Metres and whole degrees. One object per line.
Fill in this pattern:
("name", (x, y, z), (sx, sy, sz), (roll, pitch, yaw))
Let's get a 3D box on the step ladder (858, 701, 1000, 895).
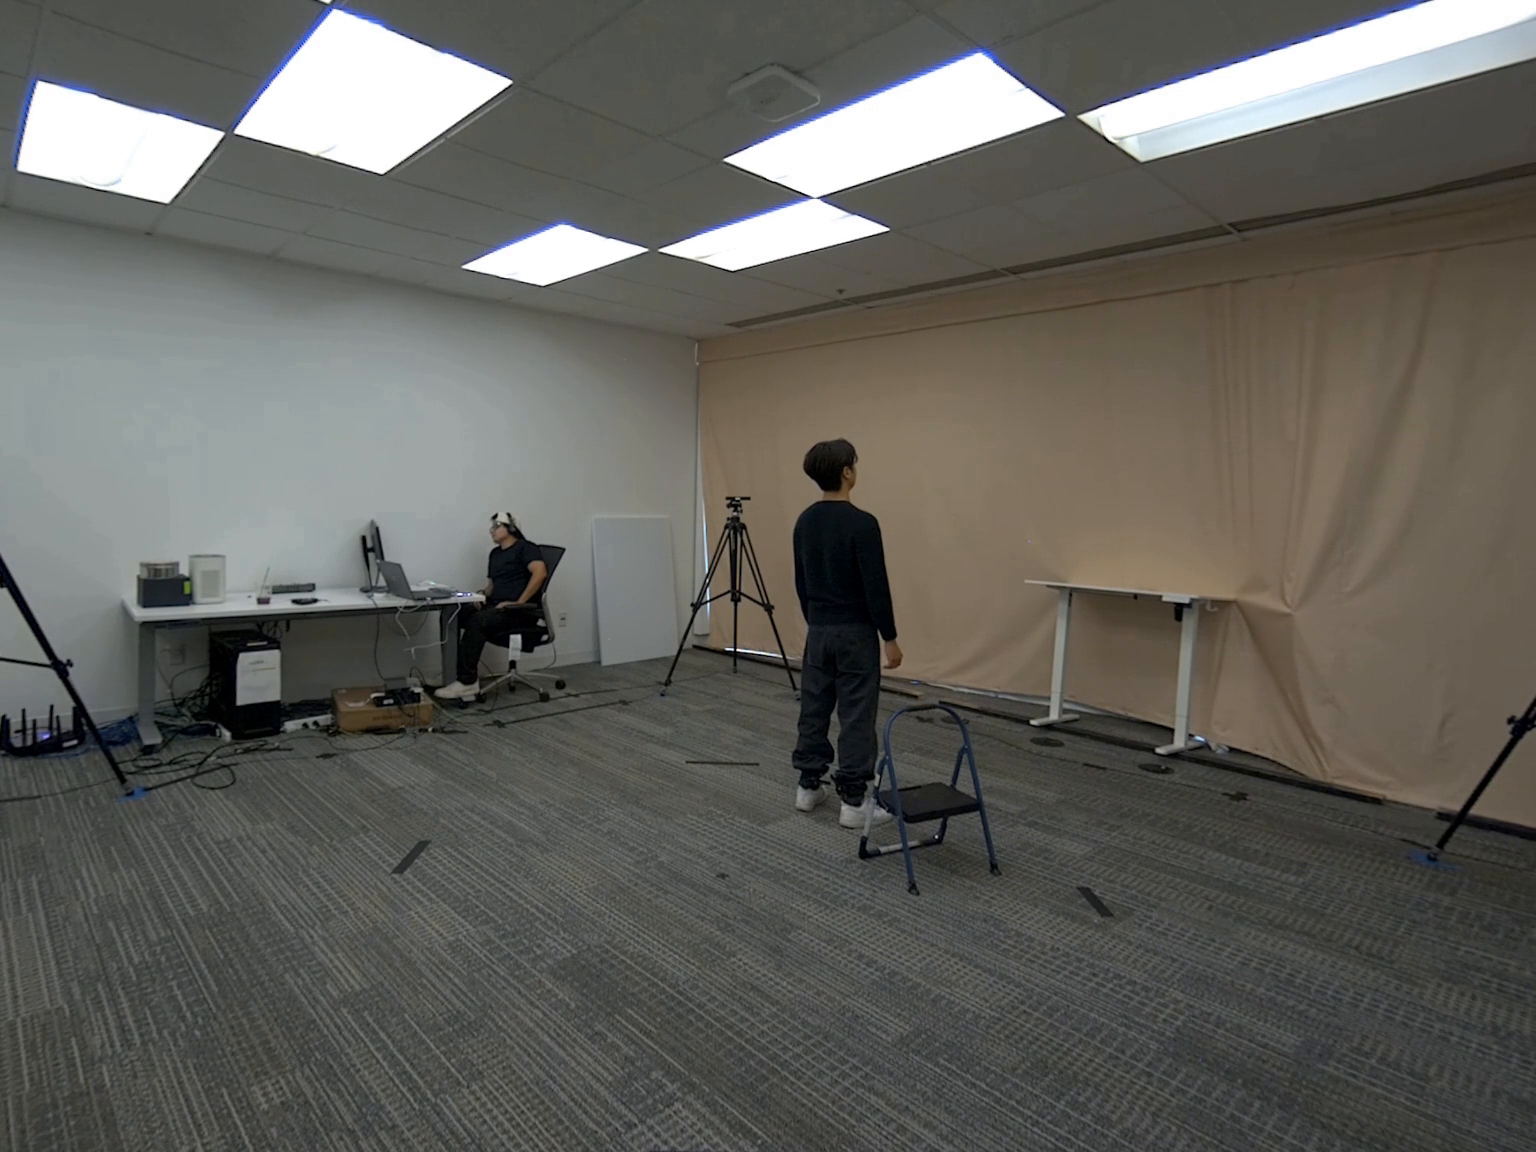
("step ladder", (0.614, 0.809, 3.222), (0.422, 0.605, 0.357), (0, 3, -29))
